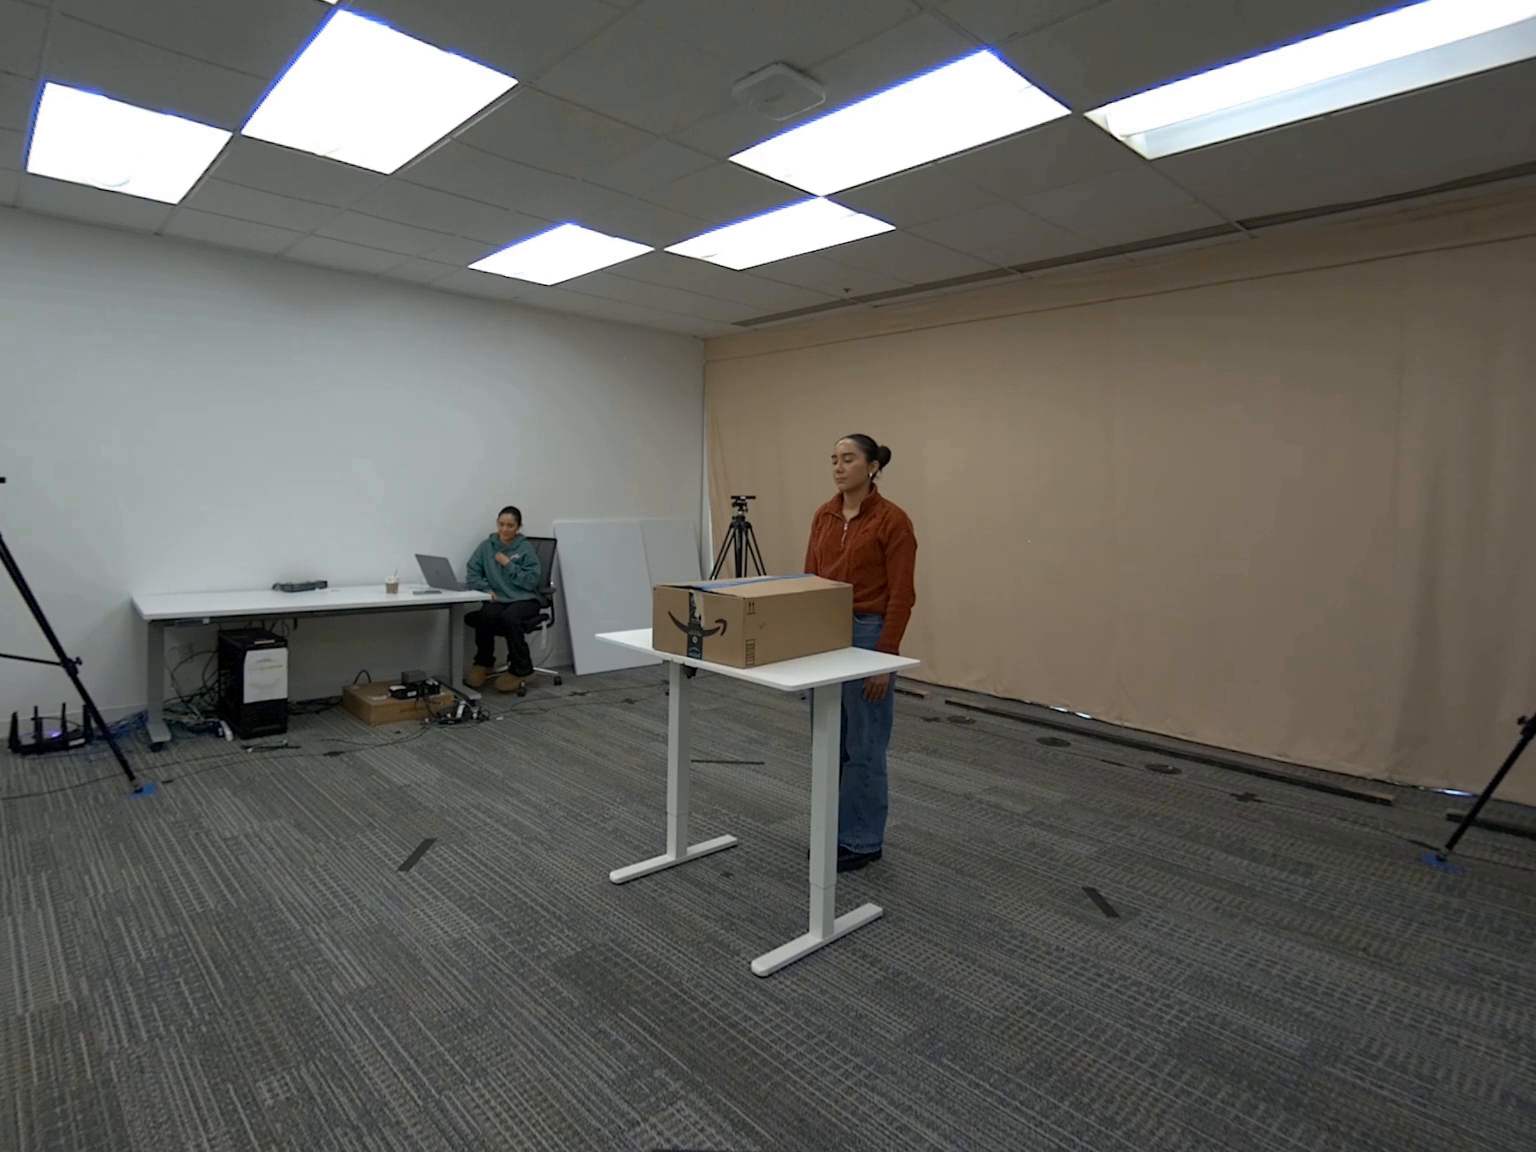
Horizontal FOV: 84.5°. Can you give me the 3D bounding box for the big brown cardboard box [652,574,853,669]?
[{"bbox_3d":[-0.046,0.137,2.845,0.428,0.232,0.576,6,8,41],"label":"big brown cardboard box"}]
